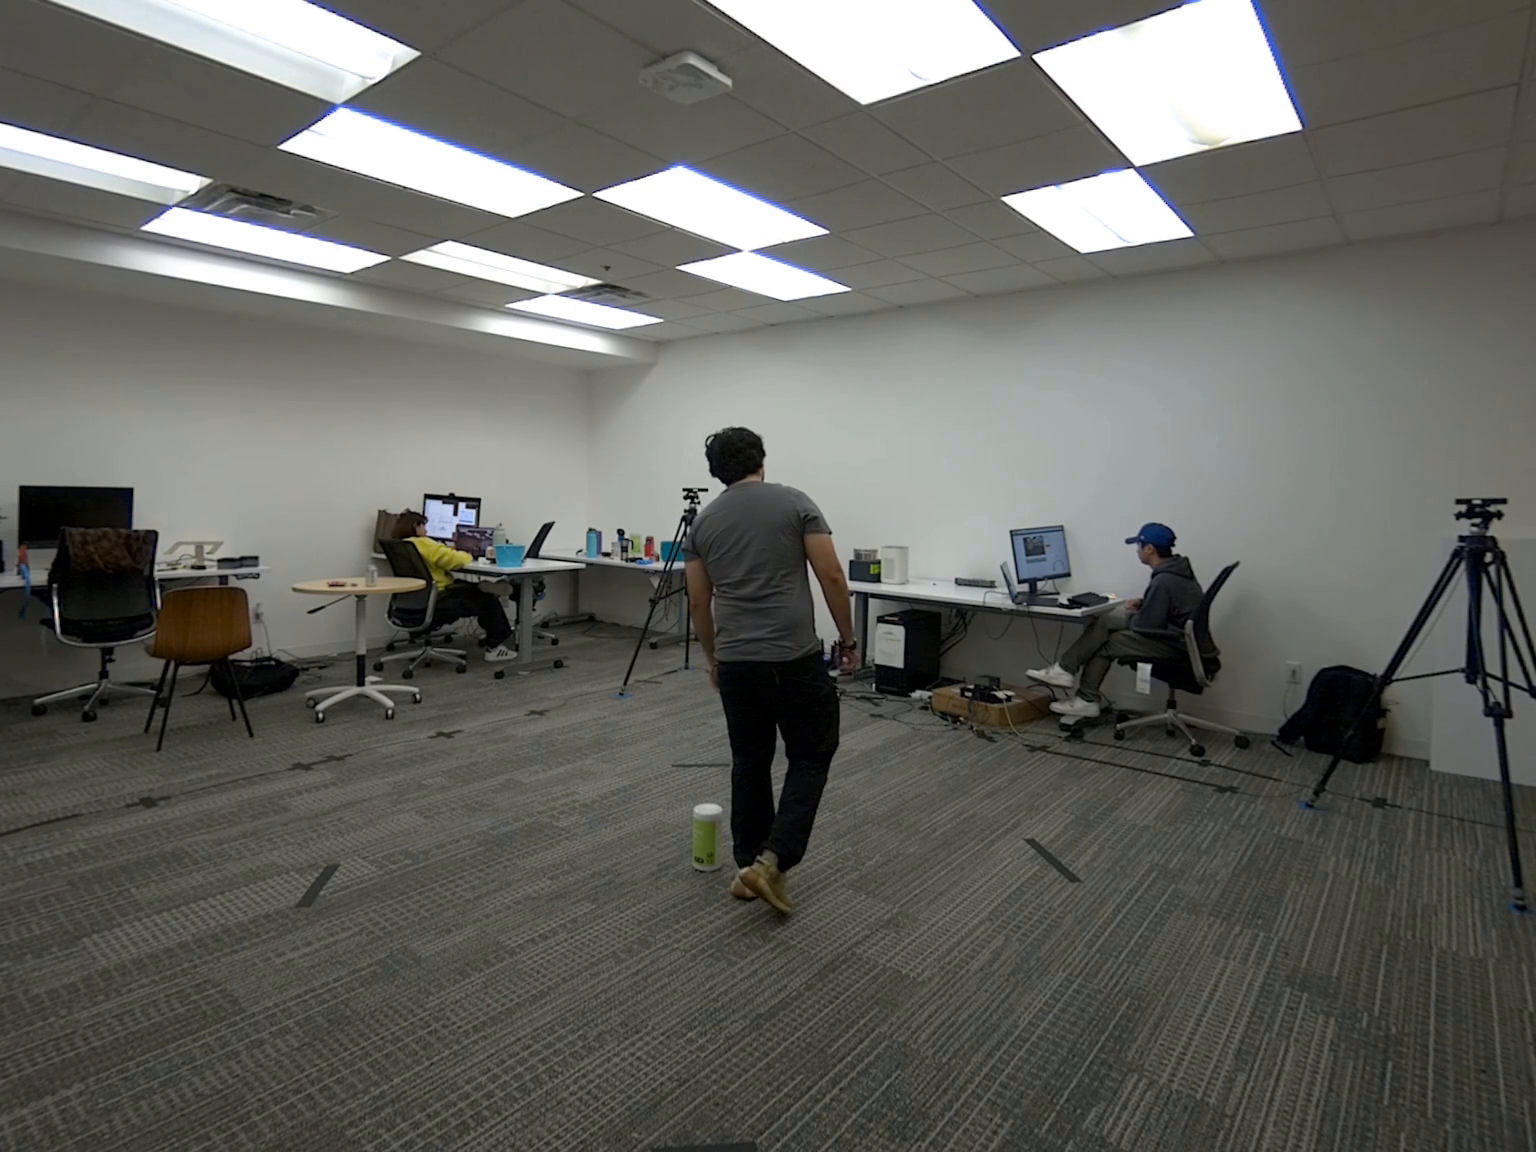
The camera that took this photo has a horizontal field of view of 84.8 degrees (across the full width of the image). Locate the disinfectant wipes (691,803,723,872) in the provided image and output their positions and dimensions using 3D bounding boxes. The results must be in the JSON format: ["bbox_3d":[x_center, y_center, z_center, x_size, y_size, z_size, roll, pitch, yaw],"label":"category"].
[{"bbox_3d":[-0.233,0.960,3.137,0.118,0.217,0.118,1,3,-2],"label":"disinfectant wipes"}]
